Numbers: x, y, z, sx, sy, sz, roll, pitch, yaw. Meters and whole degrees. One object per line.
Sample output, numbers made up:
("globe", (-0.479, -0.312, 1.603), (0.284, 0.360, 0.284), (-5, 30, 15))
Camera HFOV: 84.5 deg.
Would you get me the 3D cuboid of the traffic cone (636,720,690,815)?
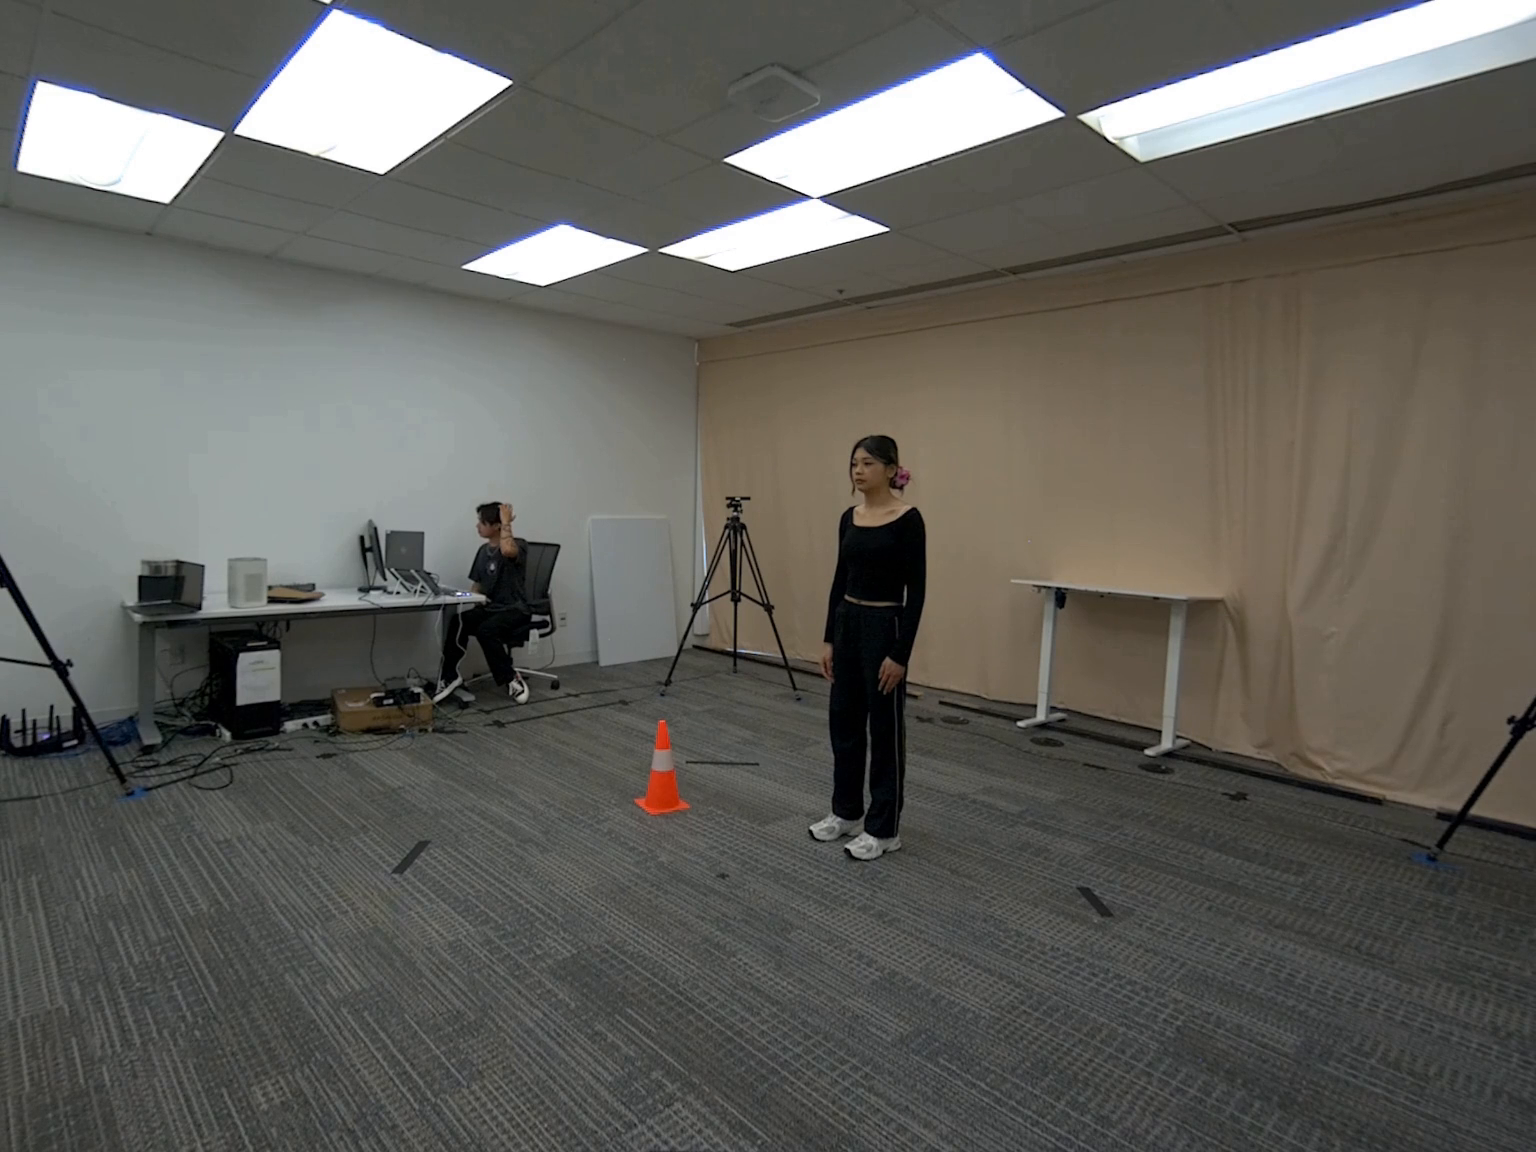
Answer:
("traffic cone", (-0.490, 0.852, 3.827), (0.199, 0.383, 0.209), (-1, 2, -27))
